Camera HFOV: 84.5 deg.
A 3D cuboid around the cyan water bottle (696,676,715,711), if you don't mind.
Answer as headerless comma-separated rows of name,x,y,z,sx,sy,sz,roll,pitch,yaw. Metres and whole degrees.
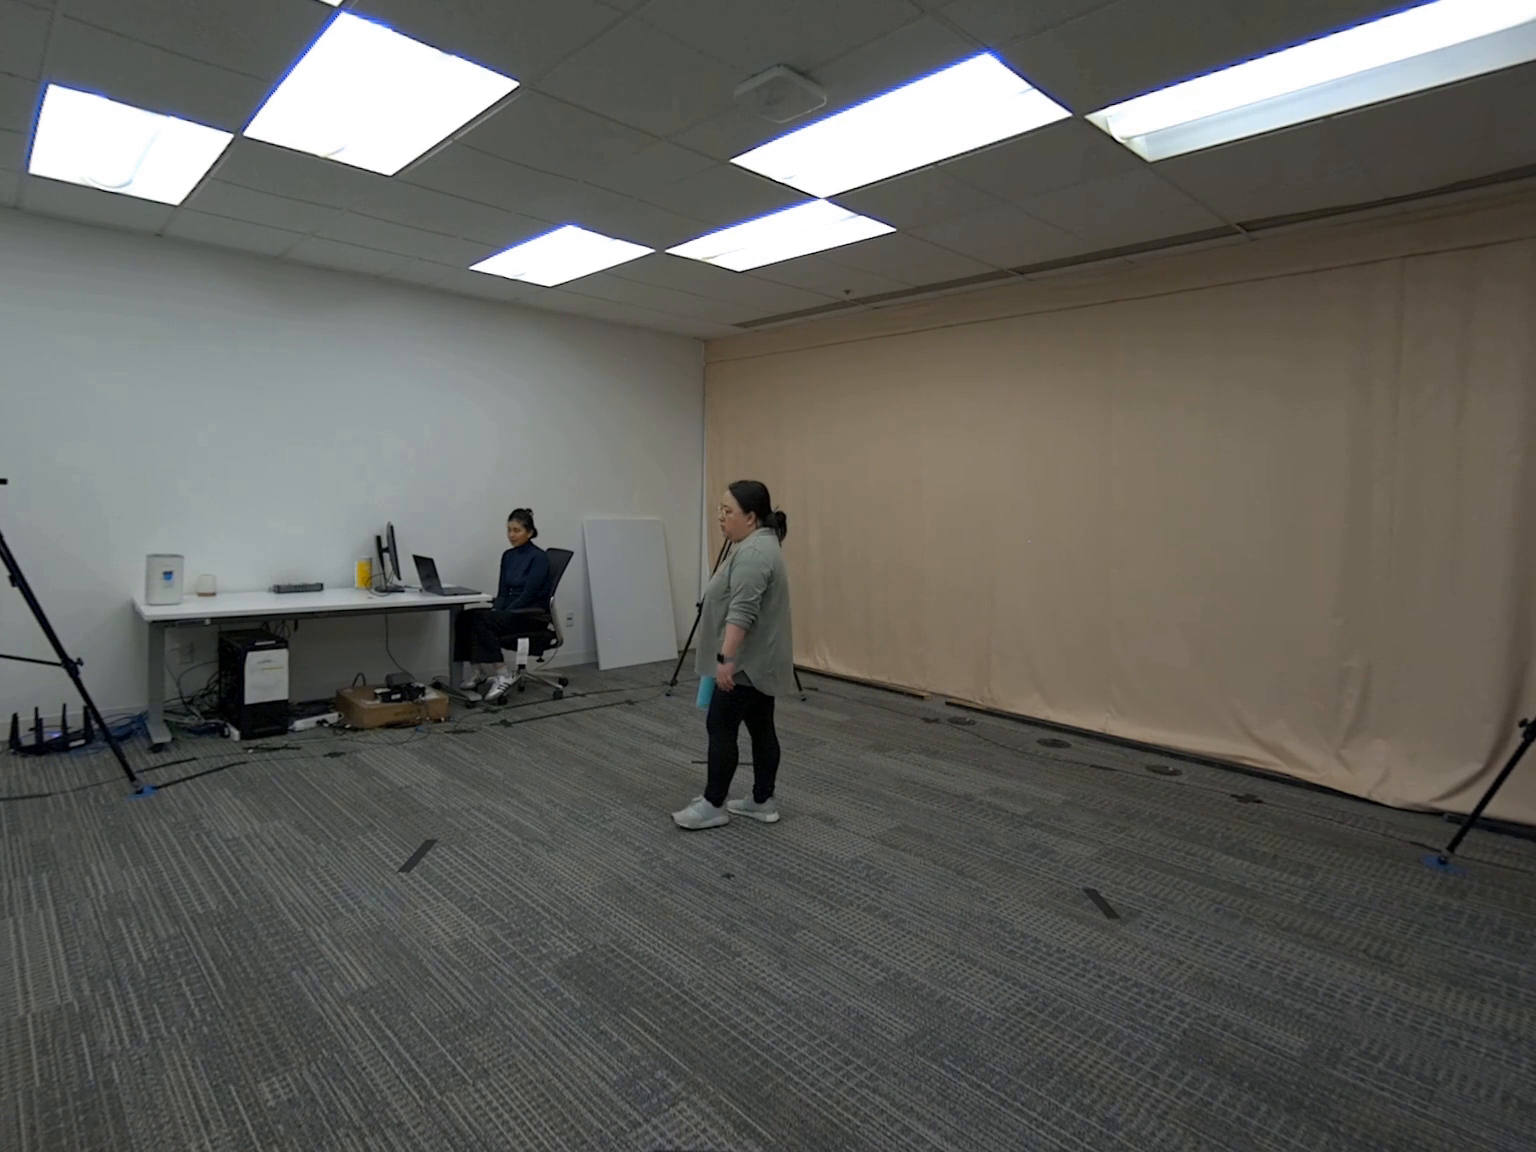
cyan water bottle,-0.268,0.487,3.975,0.092,0.282,0.093,9,5,-2
